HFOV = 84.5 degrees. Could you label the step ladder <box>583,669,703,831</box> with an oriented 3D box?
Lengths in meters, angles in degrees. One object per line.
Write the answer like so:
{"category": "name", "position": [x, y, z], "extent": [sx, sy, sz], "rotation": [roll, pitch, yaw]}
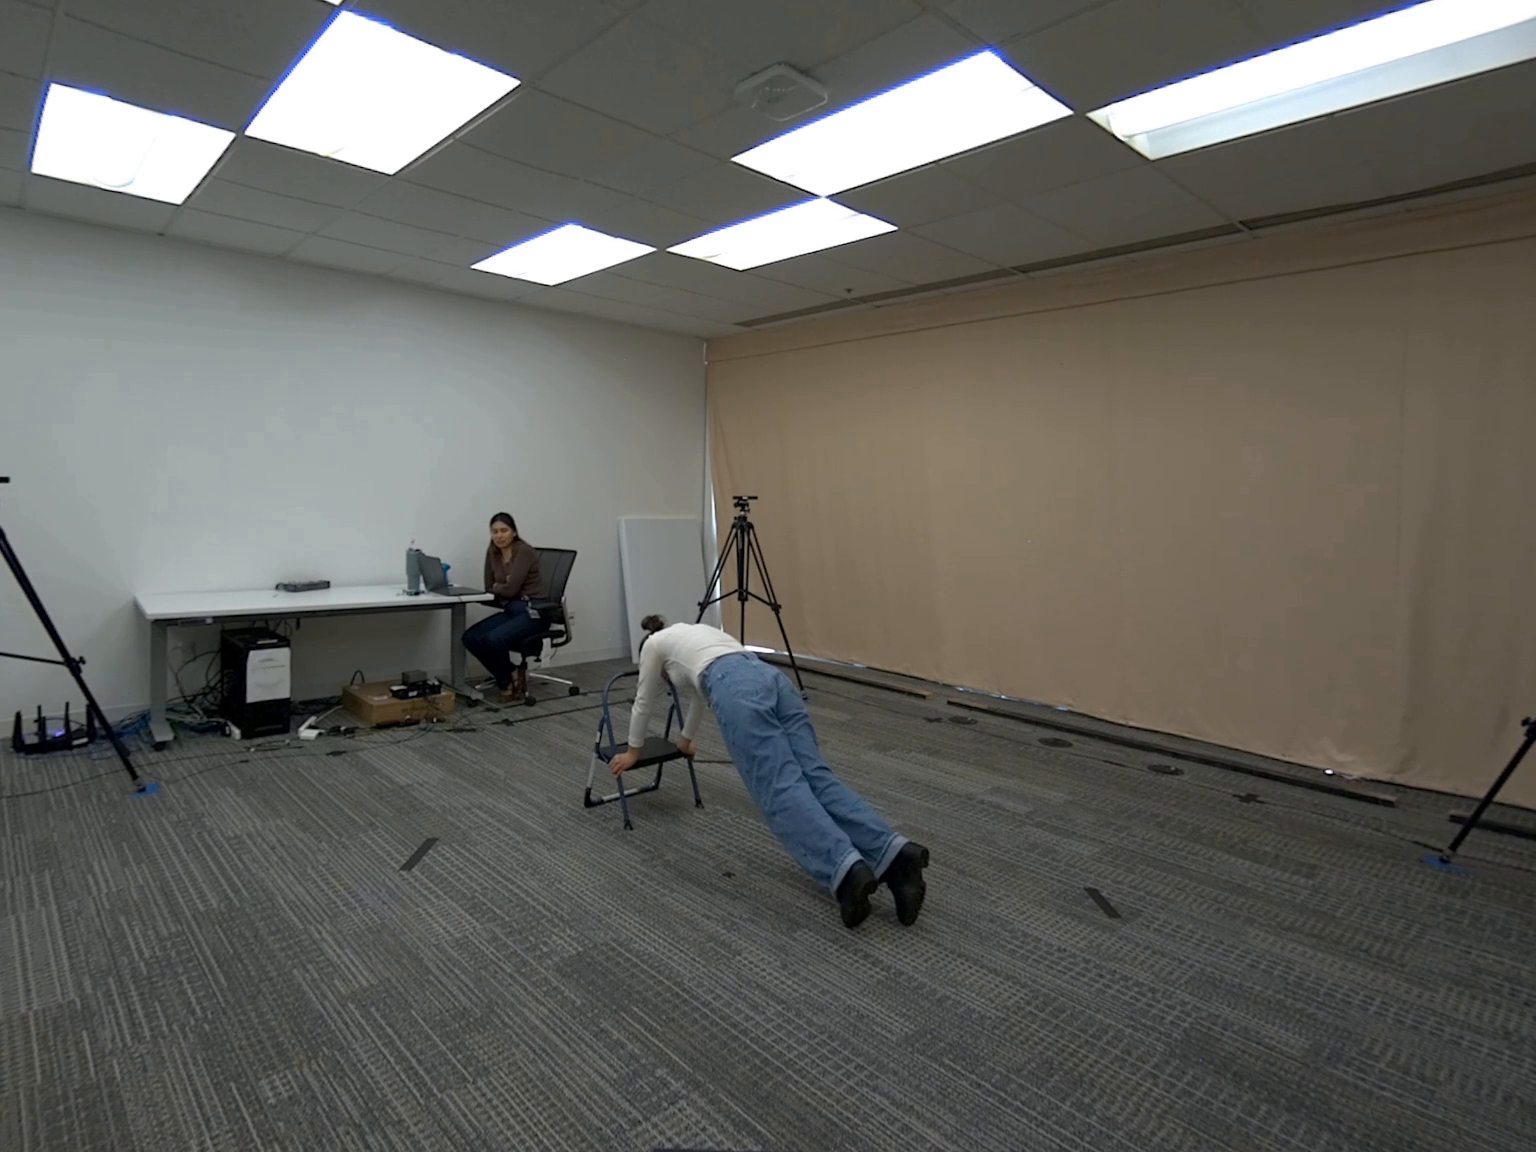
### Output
{"category": "step ladder", "position": [-0.558, 0.735, 3.754], "extent": [0.358, 0.605, 0.421], "rotation": [5, 5, 45]}
